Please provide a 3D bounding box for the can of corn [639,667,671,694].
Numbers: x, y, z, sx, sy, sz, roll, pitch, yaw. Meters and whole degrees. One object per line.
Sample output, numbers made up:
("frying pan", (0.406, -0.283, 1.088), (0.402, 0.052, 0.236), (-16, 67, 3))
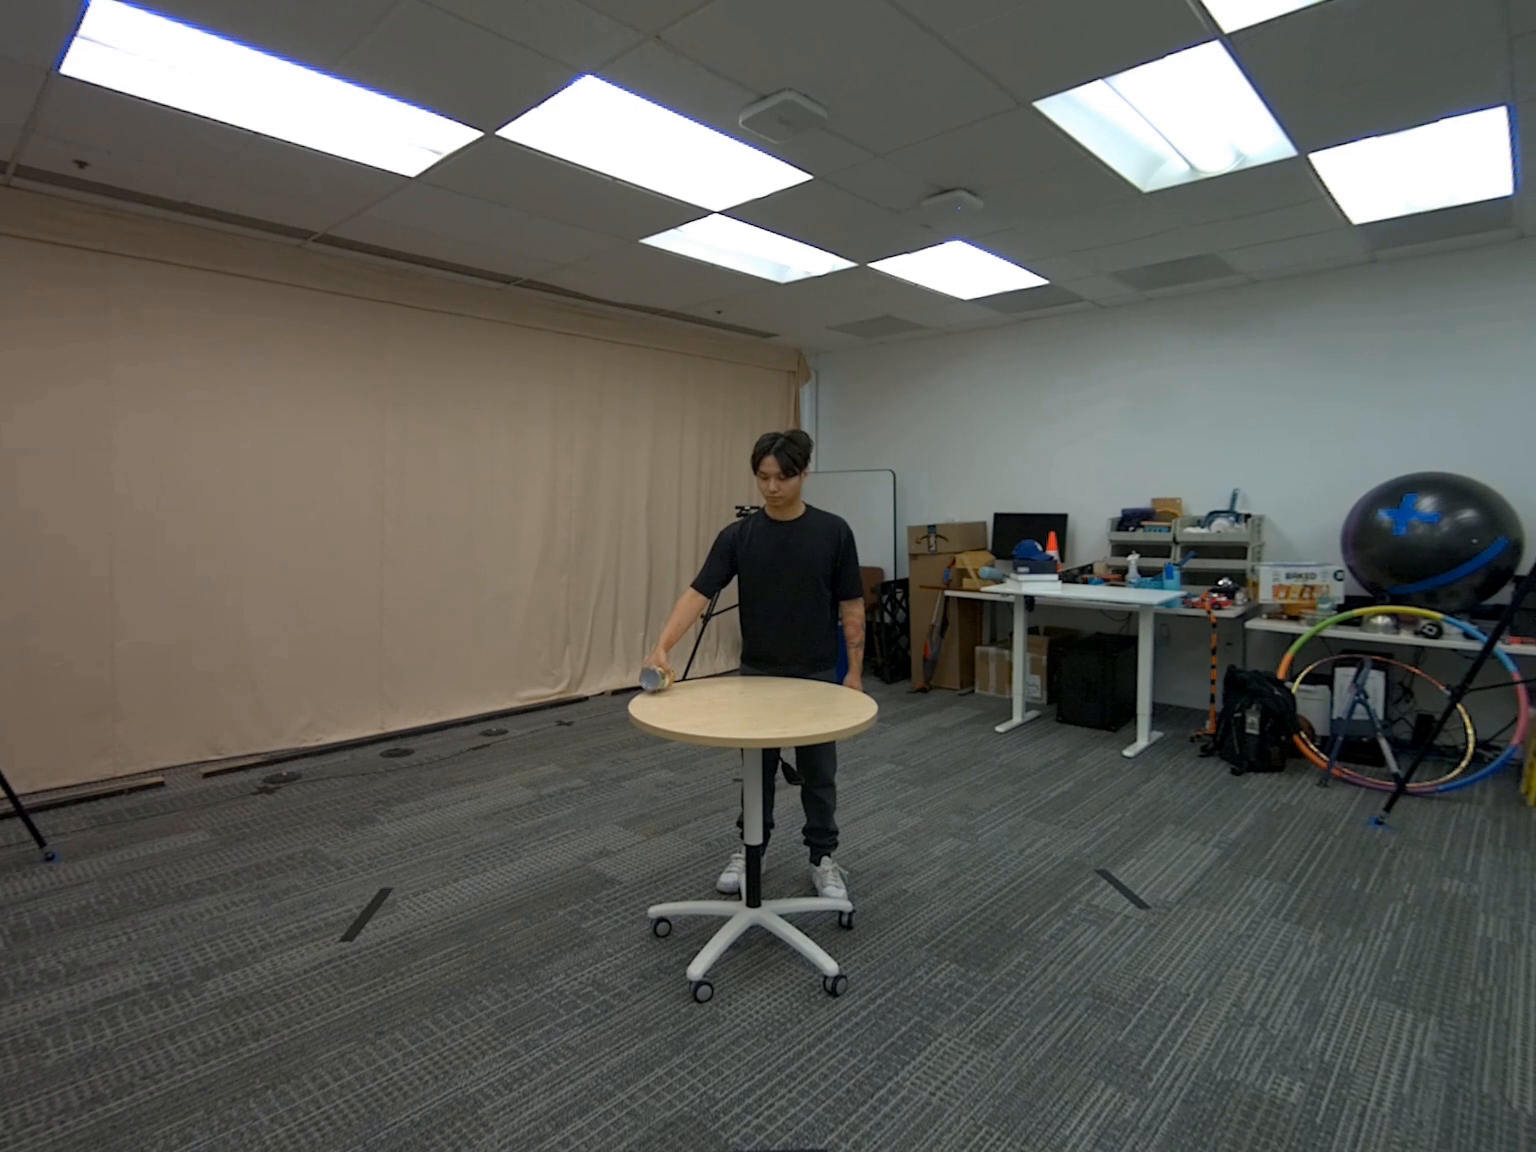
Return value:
("can of corn", (-0.361, 0.334, 2.755), (0.076, 0.074, 0.109), (1, -2, 18))
